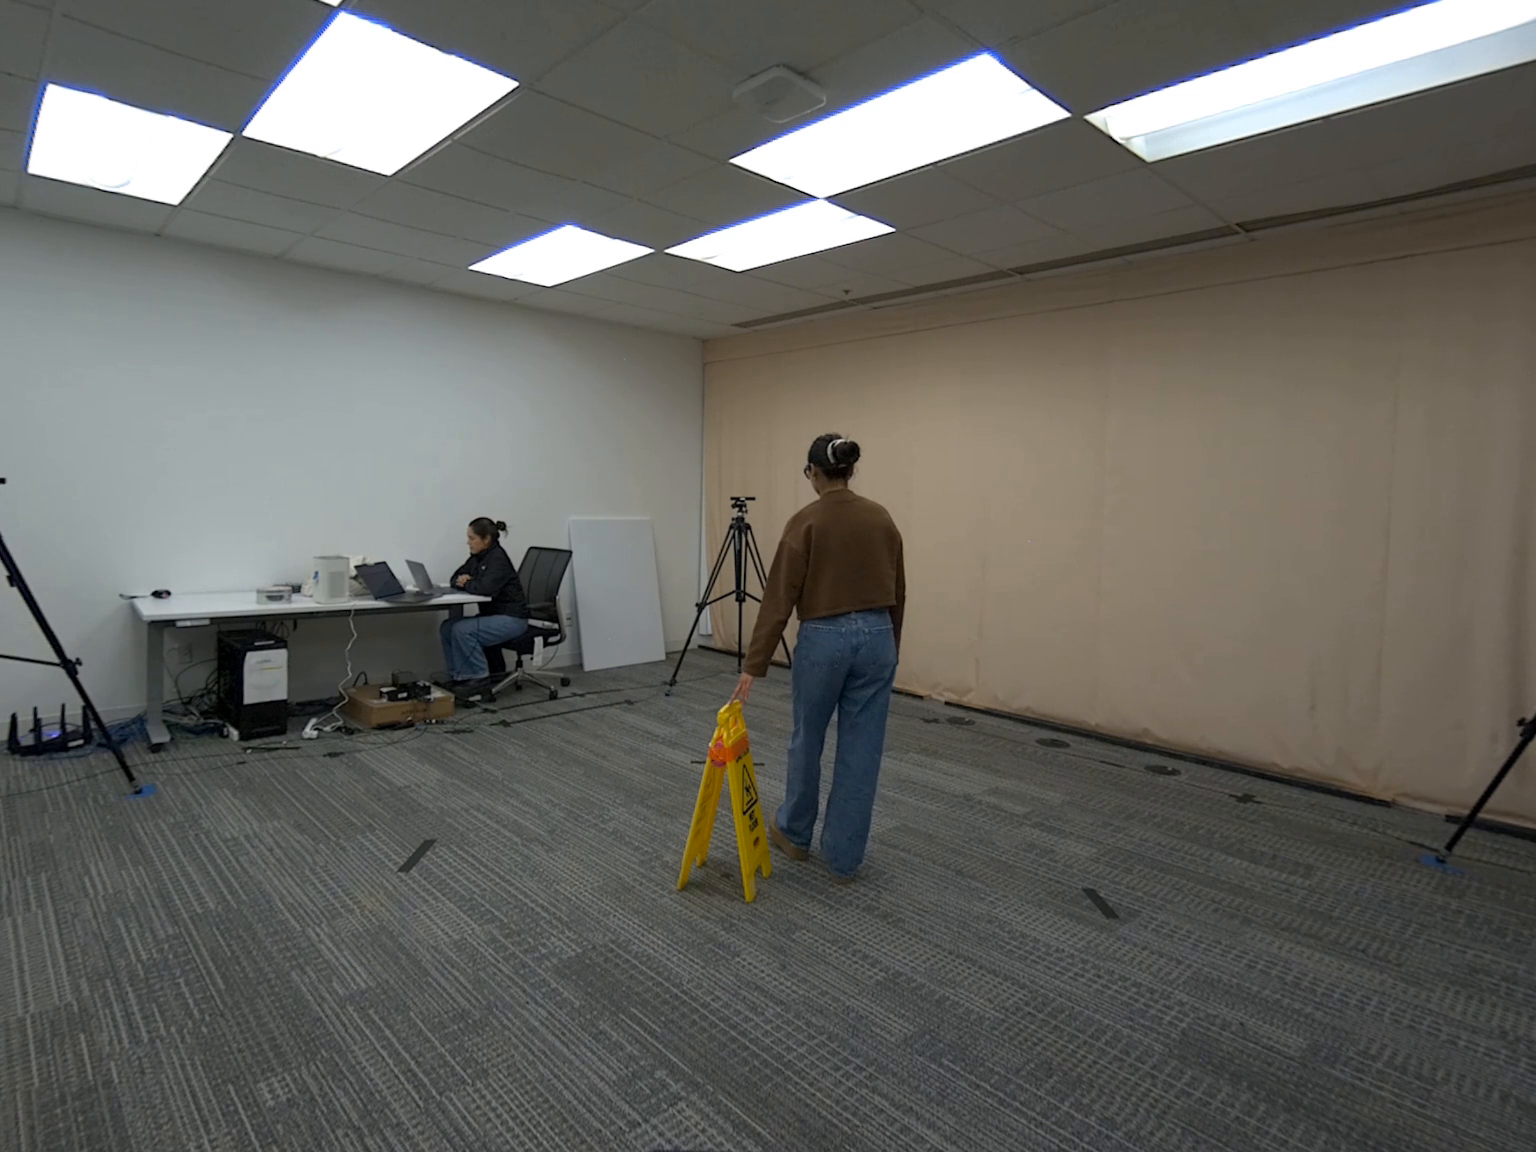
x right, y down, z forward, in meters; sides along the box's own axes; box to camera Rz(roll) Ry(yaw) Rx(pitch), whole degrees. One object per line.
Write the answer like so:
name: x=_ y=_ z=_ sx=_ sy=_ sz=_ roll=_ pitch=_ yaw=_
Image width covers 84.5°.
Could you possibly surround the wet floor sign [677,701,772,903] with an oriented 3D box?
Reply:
wet floor sign: x=-0.149 y=0.787 z=3.043 sx=0.294 sy=0.644 sz=0.279 roll=3 pitch=5 yaw=17
